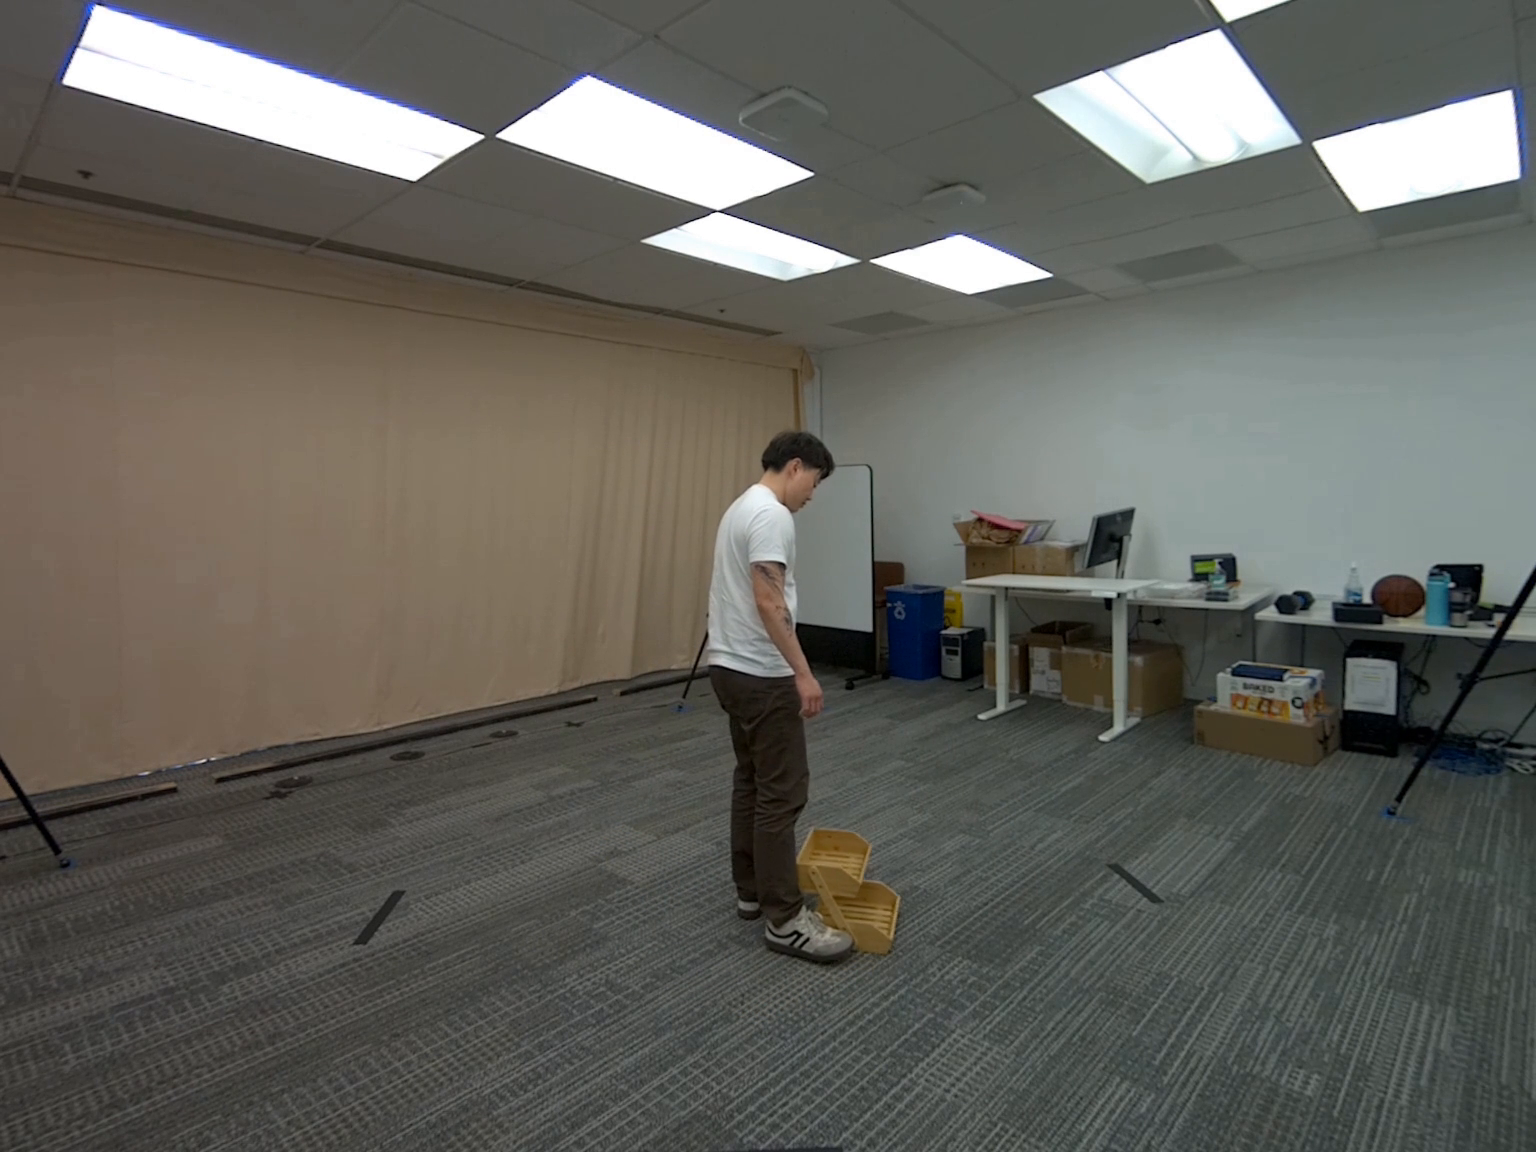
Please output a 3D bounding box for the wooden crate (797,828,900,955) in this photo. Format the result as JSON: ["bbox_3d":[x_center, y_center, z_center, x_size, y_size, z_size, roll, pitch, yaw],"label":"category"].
[{"bbox_3d":[0.280,1.026,2.764,0.307,0.273,0.320,-1,4,15],"label":"wooden crate"}]
